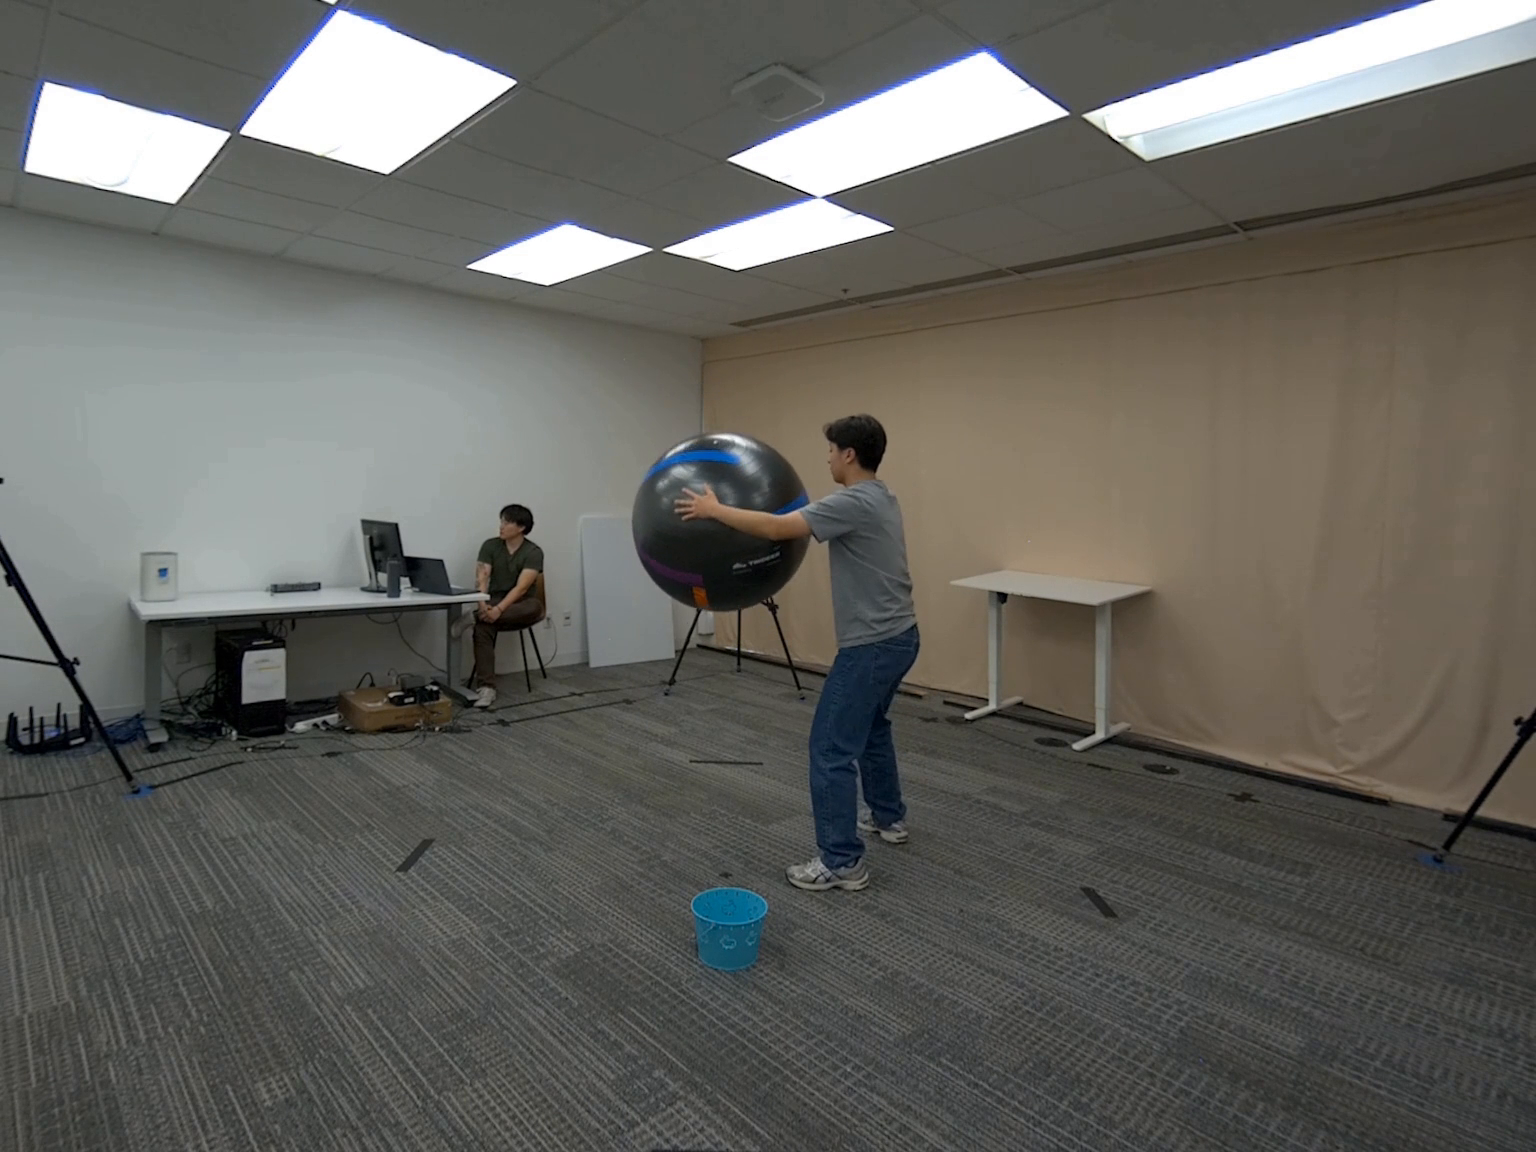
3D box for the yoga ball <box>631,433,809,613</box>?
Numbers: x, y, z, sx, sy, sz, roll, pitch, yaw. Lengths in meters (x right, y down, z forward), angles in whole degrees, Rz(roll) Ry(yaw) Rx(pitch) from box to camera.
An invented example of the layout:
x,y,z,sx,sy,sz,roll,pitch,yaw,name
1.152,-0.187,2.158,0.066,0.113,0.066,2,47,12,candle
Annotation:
x,y,z,sx,sy,sz,roll,pitch,yaw,name
-0.196,-0.211,3.568,0.757,0.756,0.761,1,4,-1,yoga ball
